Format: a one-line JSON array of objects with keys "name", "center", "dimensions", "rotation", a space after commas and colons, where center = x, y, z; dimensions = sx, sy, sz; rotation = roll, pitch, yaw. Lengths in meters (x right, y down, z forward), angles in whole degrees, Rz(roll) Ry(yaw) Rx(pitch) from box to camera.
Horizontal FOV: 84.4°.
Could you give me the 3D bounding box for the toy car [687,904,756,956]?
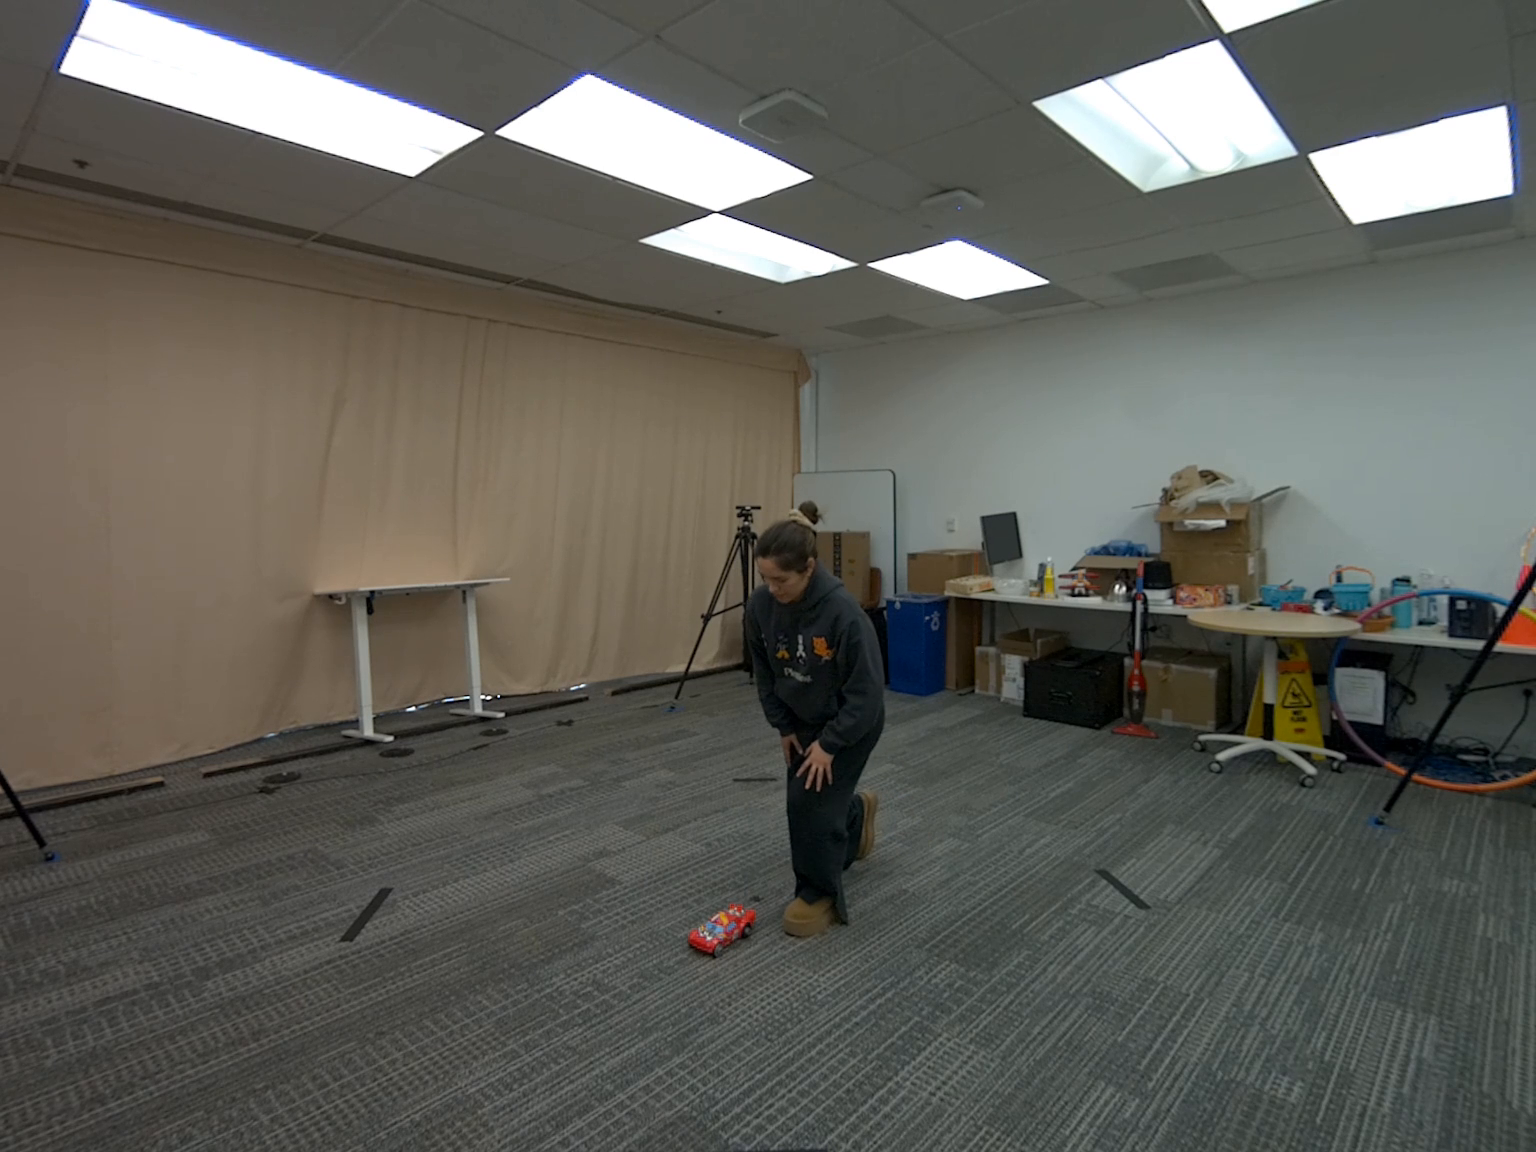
[{"name": "toy car", "center": [-0.123, 1.136, 2.705], "dimensions": [0.134, 0.082, 0.249], "rotation": [2, 17, 38]}]
